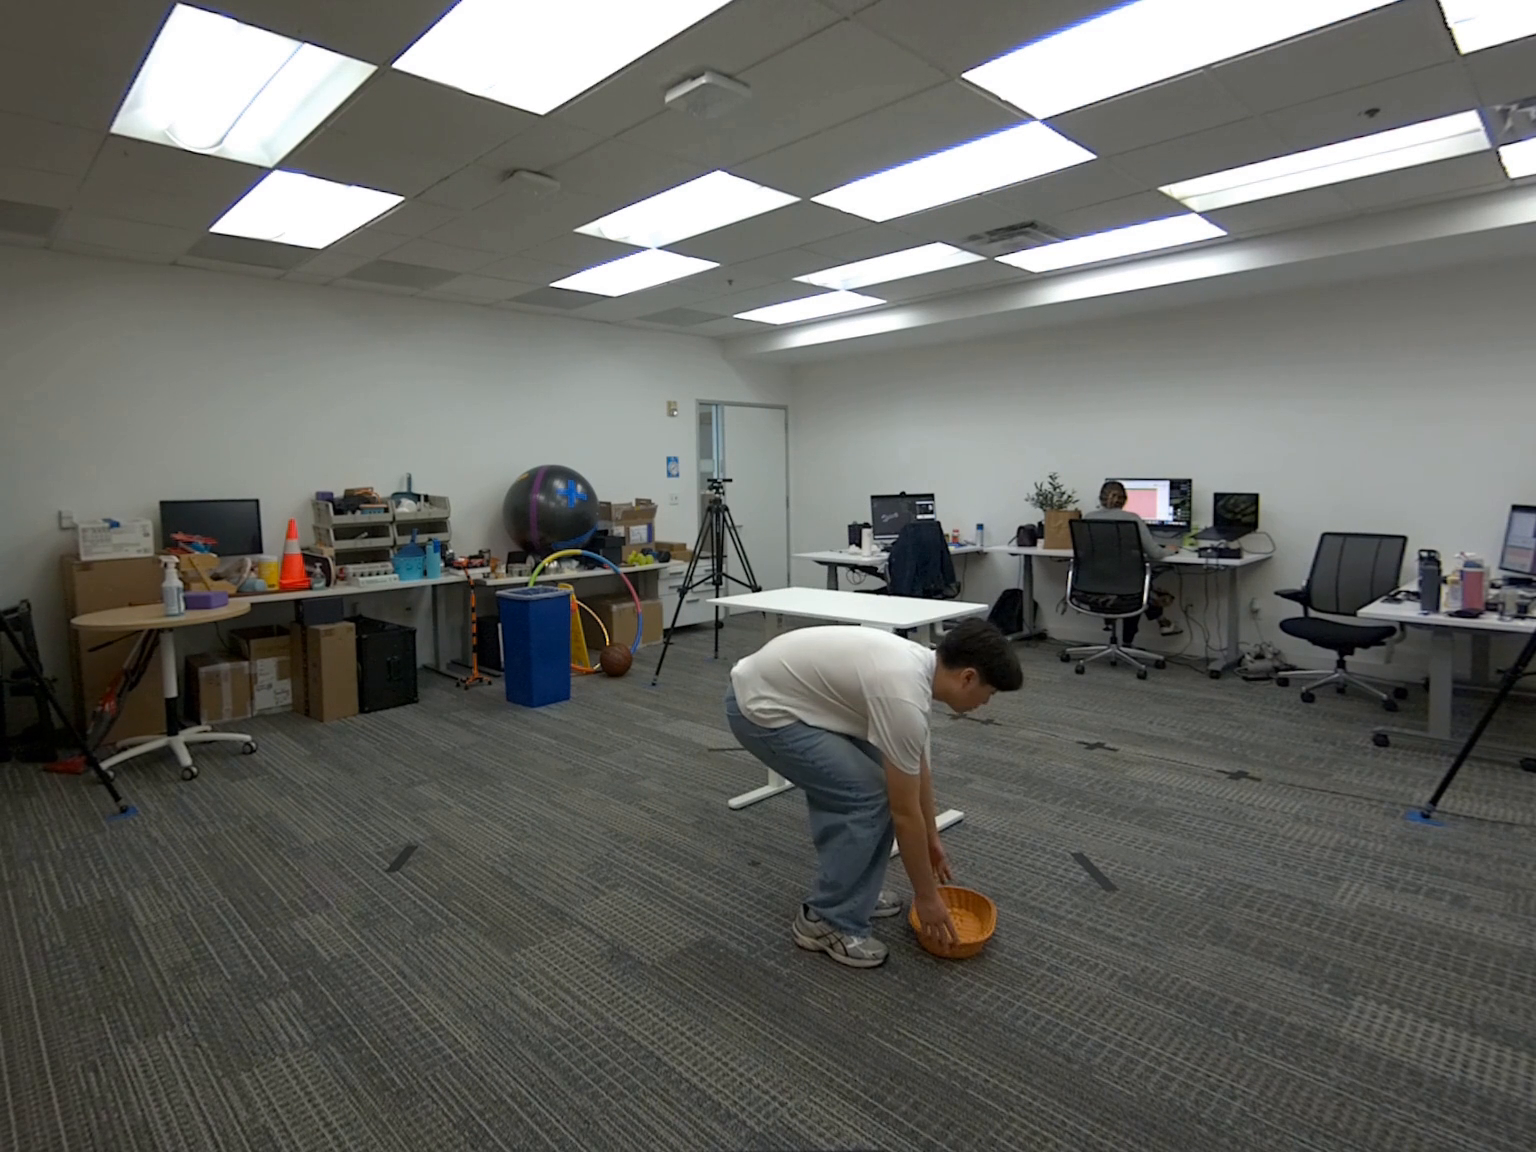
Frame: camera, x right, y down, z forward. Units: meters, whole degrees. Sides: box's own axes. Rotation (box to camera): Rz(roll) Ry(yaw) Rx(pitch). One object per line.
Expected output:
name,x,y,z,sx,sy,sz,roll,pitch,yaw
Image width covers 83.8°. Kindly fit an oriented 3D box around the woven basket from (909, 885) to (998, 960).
woven basket,0.558,1.038,2.601,0.258,0.073,0.344,2,6,22
